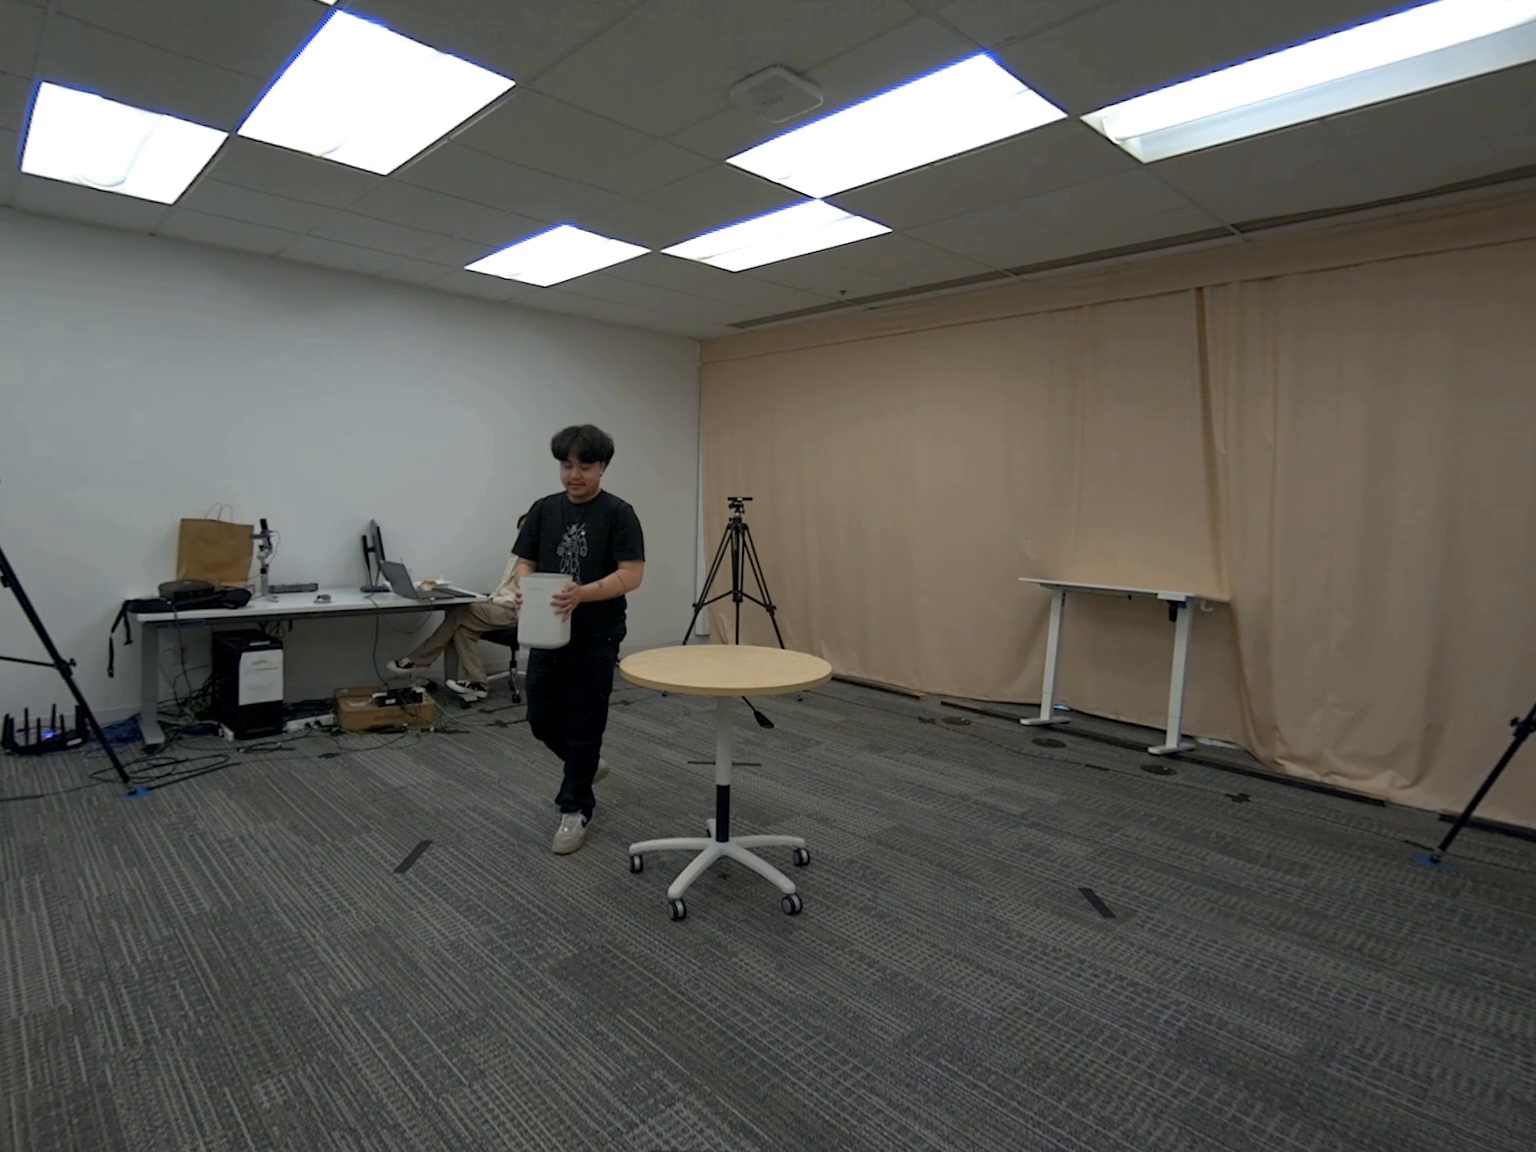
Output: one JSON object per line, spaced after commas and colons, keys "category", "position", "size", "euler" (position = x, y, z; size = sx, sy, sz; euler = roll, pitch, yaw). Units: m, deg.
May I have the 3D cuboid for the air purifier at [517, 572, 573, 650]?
{"category": "air purifier", "position": [-0.837, 0.131, 3.118], "size": [0.172, 0.265, 0.171], "euler": [3, 2, 5]}
